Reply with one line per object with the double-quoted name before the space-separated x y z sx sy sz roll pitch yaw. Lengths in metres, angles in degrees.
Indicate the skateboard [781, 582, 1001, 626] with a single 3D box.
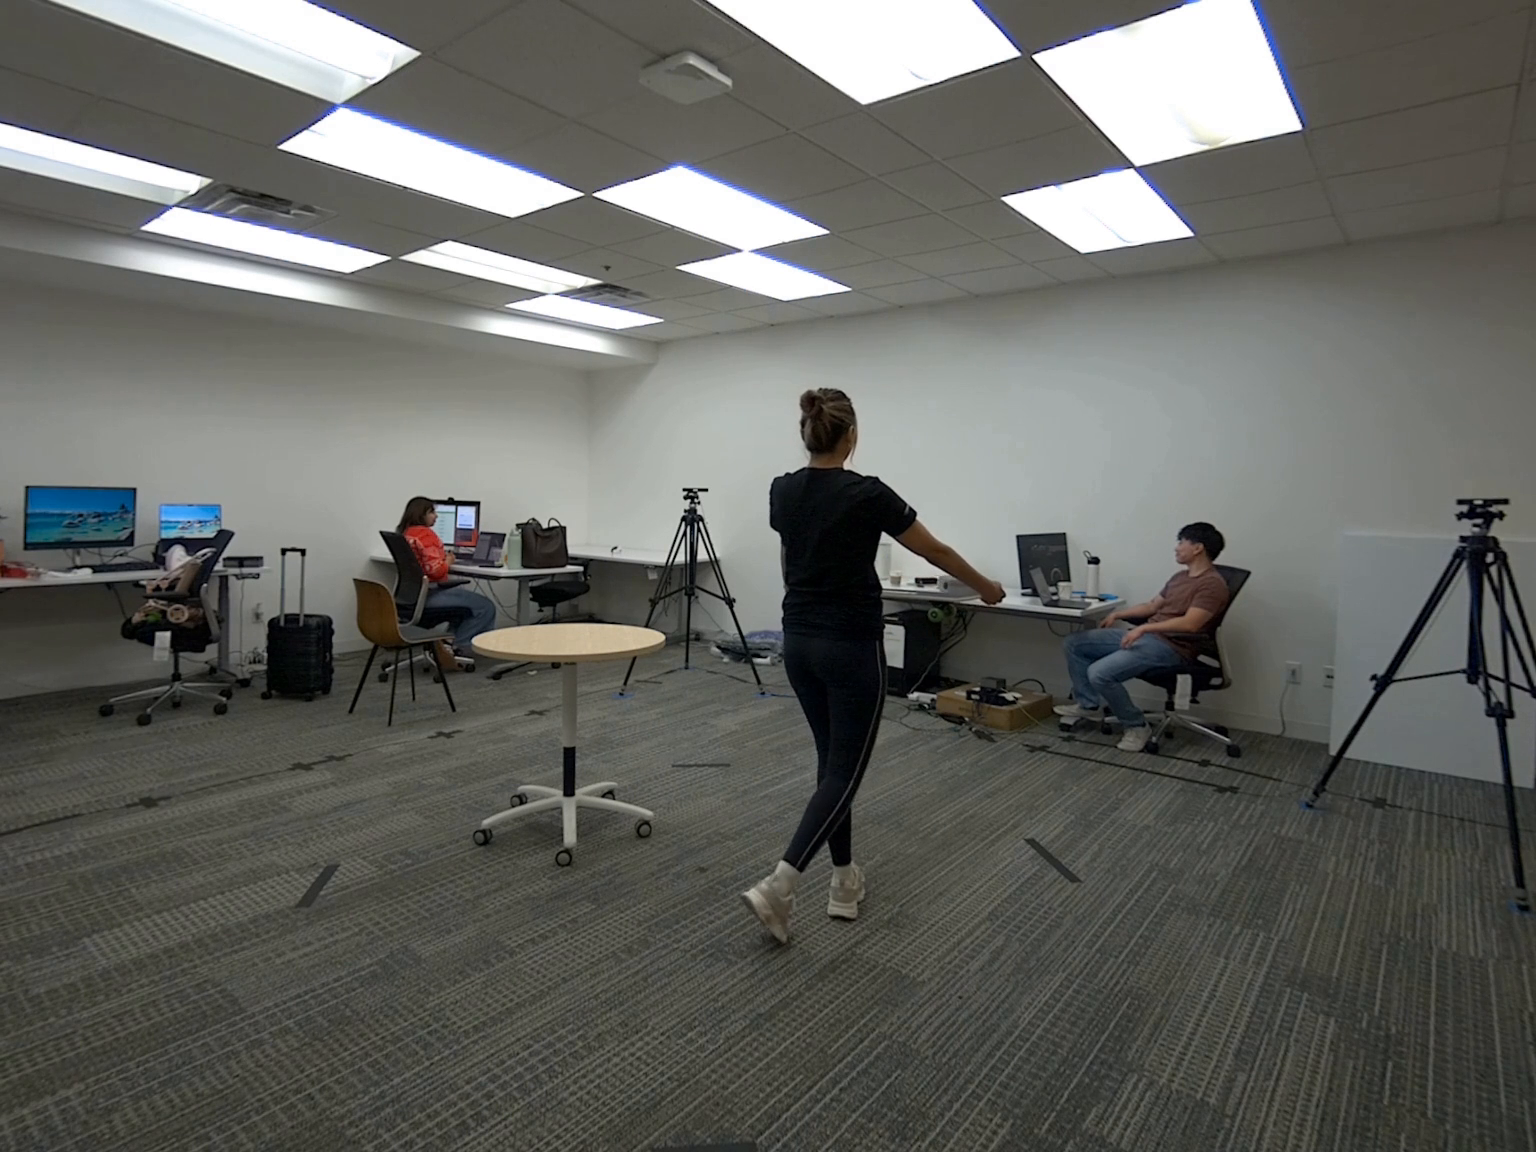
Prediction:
"skateboard" 0.443 0.092 3.152 0.809 0.110 0.188 3 2 32
